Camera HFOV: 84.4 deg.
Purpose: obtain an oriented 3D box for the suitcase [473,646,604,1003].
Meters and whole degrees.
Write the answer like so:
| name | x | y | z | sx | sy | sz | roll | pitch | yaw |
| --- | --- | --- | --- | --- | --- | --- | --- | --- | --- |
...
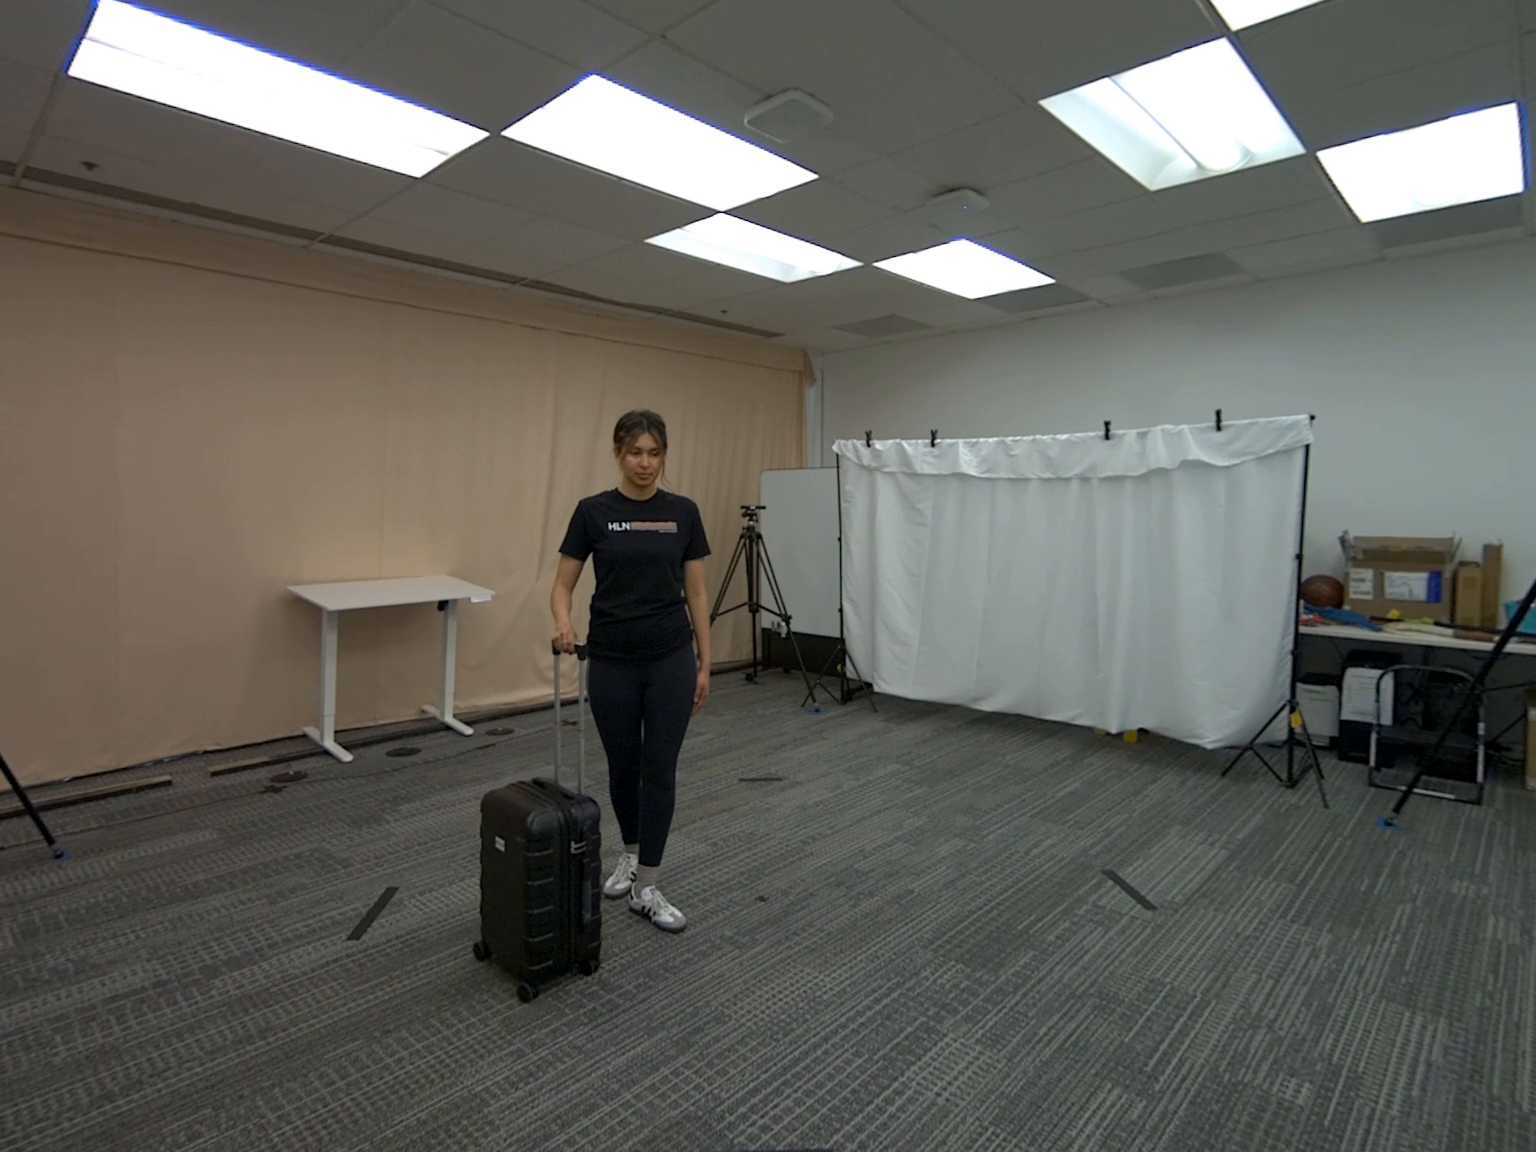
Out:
| name | x | y | z | sx | sy | sz | roll | pitch | yaw |
| --- | --- | --- | --- | --- | --- | --- | --- | --- | --- |
| suitcase | -0.696 | 0.713 | 2.517 | 0.397 | 0.976 | 0.249 | 4 | 6 | 44 |
